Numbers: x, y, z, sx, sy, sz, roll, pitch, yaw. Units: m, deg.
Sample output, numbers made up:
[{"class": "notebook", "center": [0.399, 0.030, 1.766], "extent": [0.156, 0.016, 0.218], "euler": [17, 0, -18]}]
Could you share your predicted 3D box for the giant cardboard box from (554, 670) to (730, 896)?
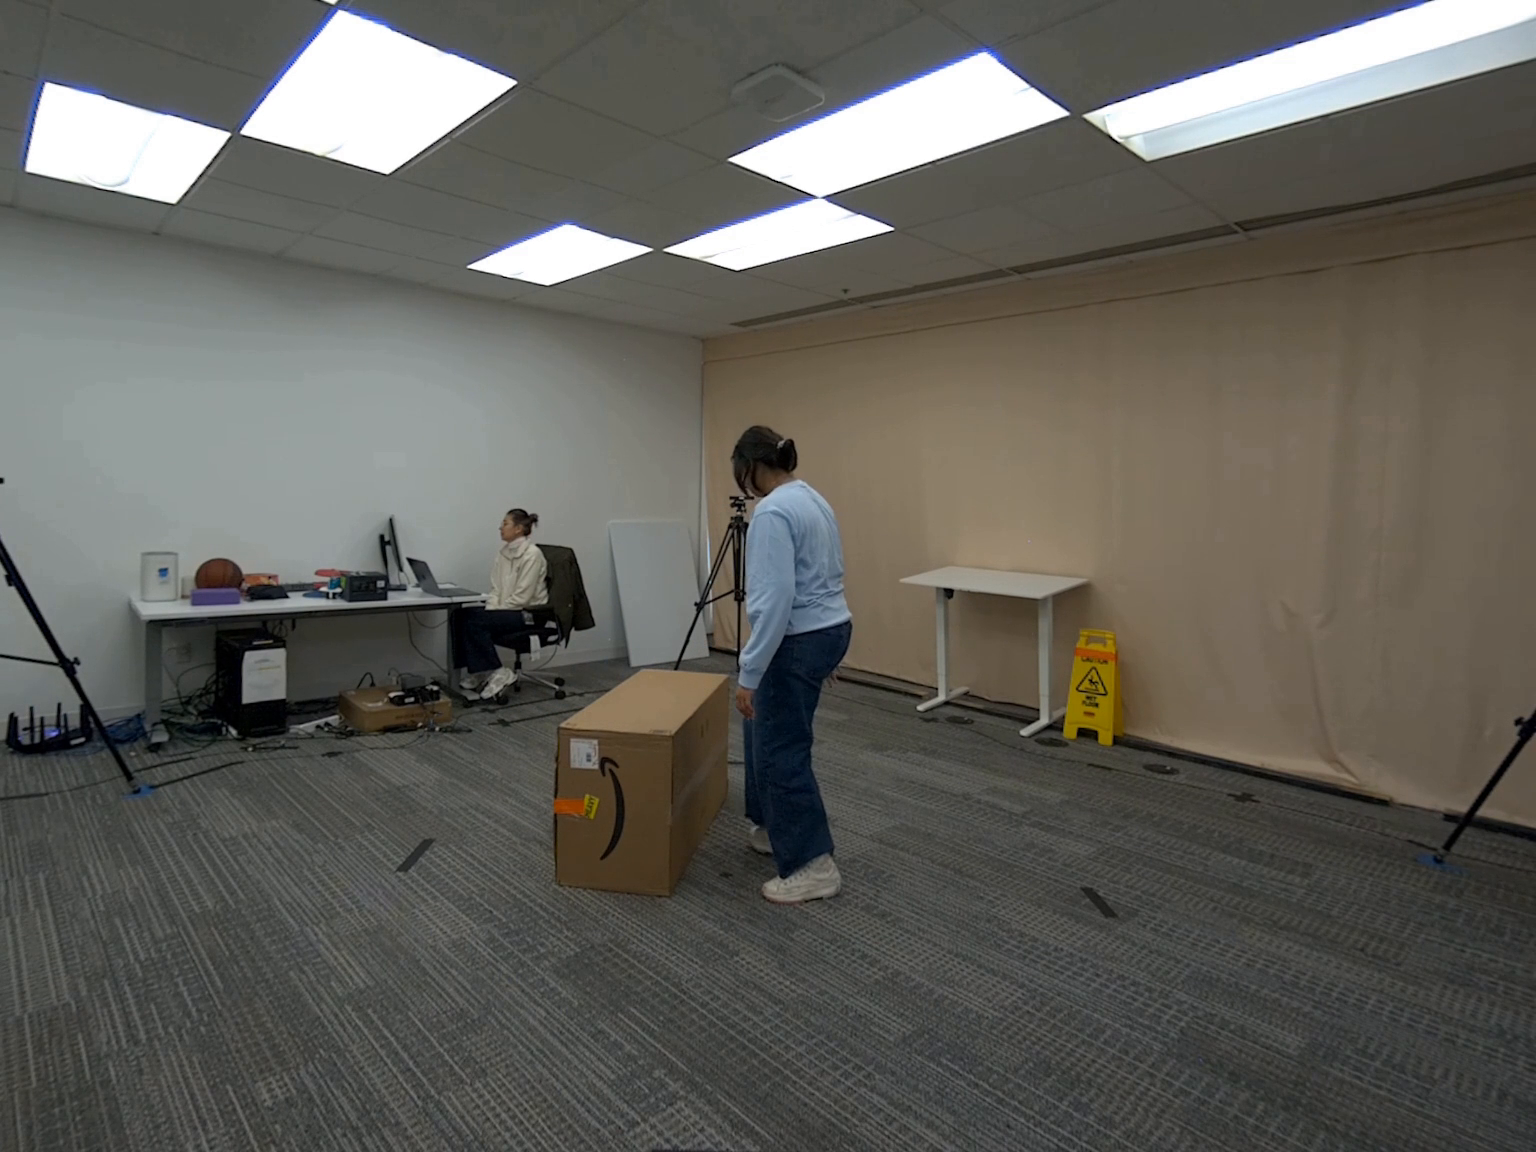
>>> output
[{"class": "giant cardboard box", "center": [-0.476, 0.773, 3.451], "extent": [0.430, 0.575, 1.021], "euler": [1, 5, 9]}]
